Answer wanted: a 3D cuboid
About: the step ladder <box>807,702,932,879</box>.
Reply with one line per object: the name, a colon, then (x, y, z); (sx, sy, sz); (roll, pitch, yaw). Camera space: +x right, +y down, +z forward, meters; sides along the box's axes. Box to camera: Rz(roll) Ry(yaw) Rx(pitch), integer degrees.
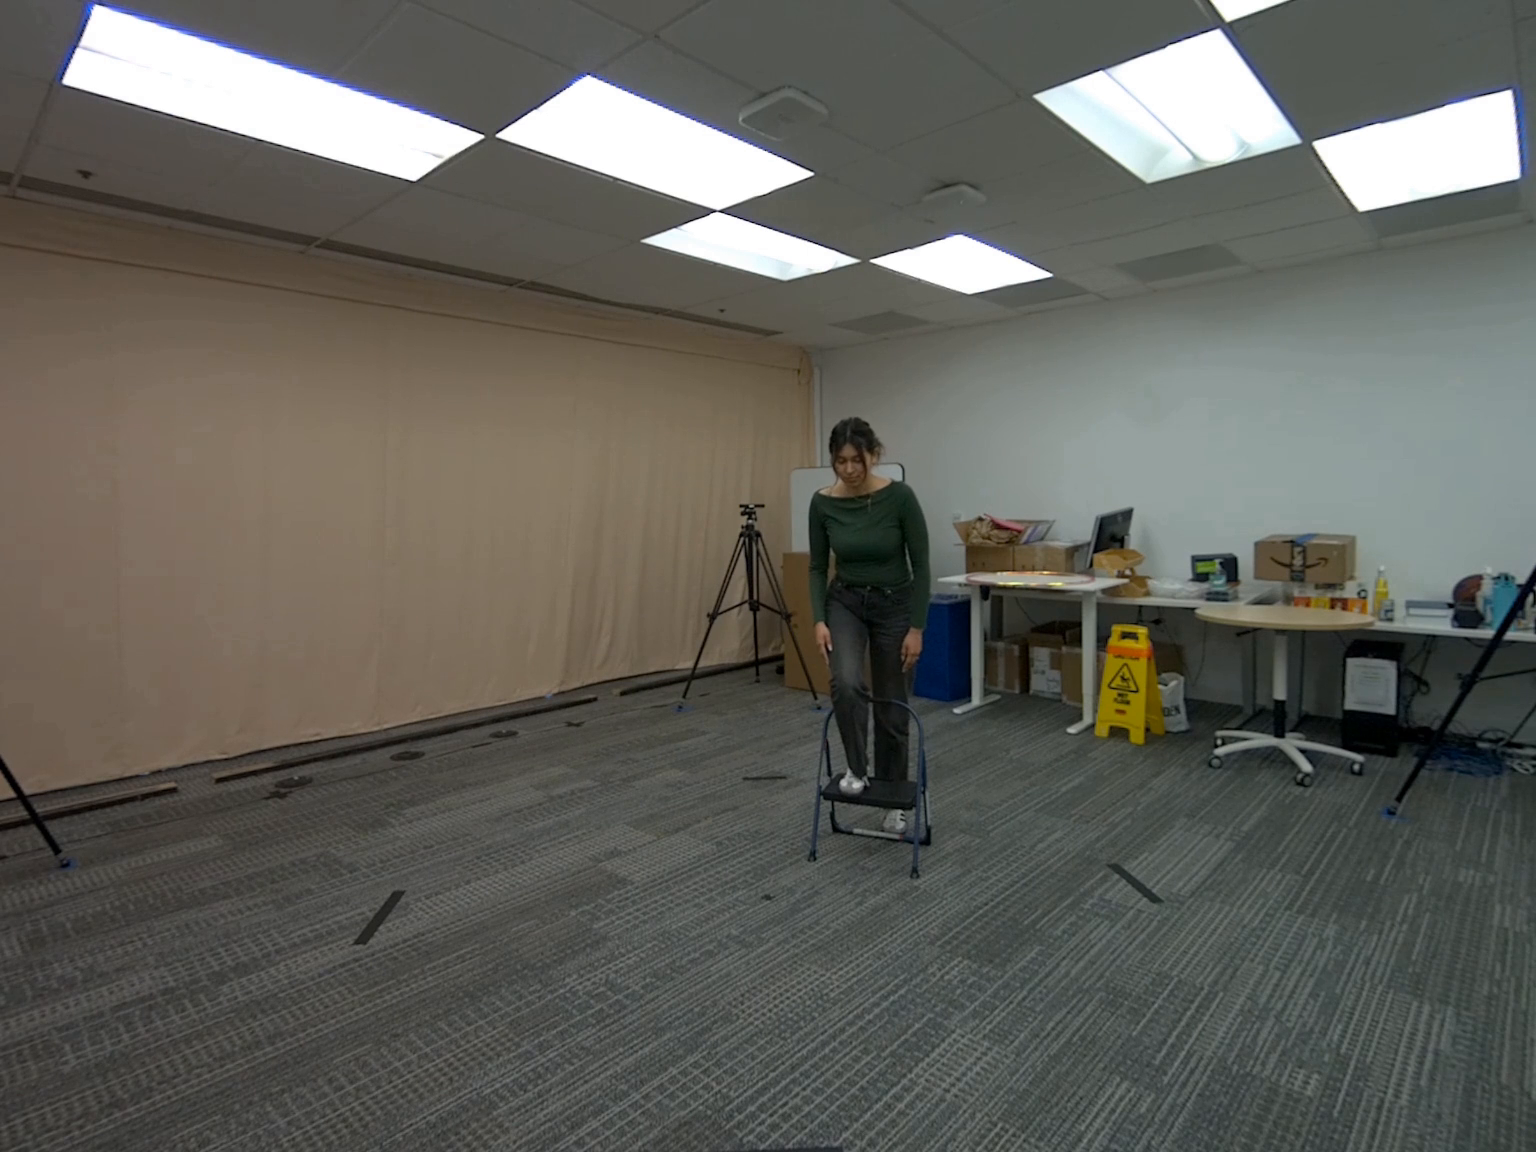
step ladder: (0.413, 0.799, 3.335); (0.440, 0.605, 0.342); (0, 3, 22)
